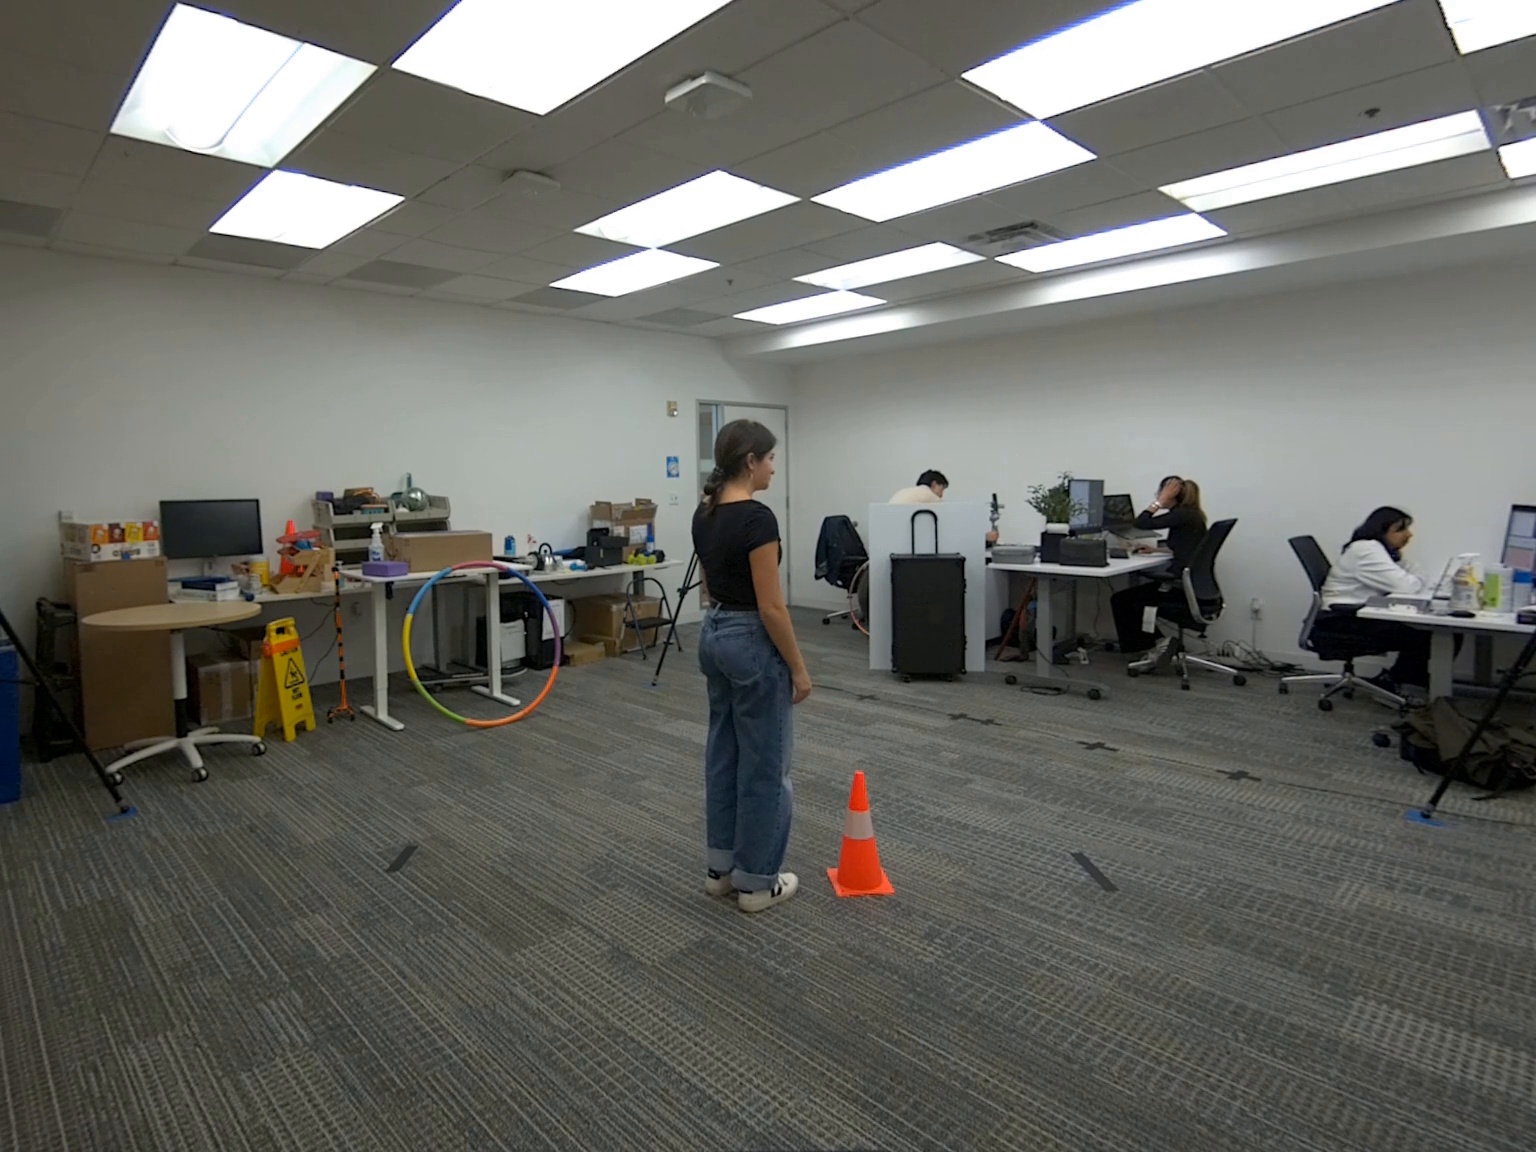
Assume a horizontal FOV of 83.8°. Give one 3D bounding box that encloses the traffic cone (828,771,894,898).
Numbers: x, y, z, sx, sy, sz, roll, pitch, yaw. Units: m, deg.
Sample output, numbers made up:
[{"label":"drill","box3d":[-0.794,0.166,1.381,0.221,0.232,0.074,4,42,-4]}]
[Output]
[{"label":"traffic cone","box3d":[0.318,0.869,2.946,0.204,0.382,0.205,-1,3,-6]}]
